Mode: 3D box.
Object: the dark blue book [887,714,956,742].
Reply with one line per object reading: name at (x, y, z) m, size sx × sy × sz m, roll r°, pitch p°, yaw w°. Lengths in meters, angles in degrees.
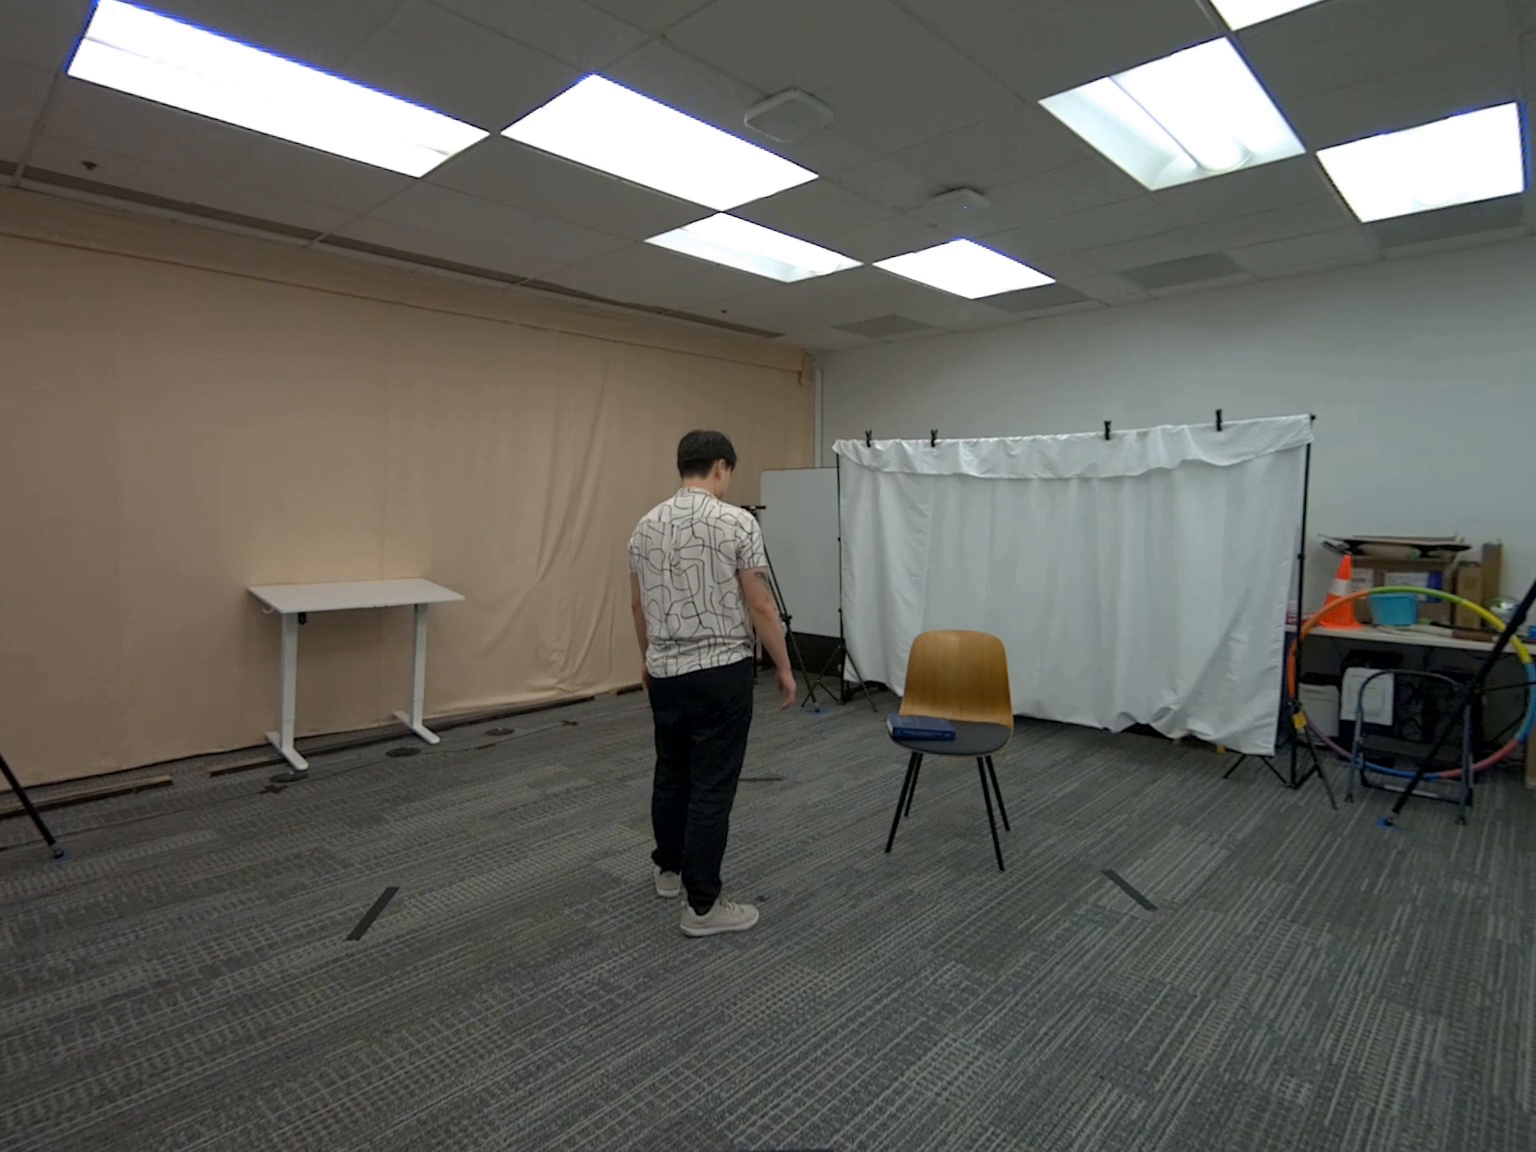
dark blue book at (0.604, 0.599, 3.347) m, size 0.246 × 0.045 × 0.163 m, roll 3°, pitch 7°, yaw 2°
